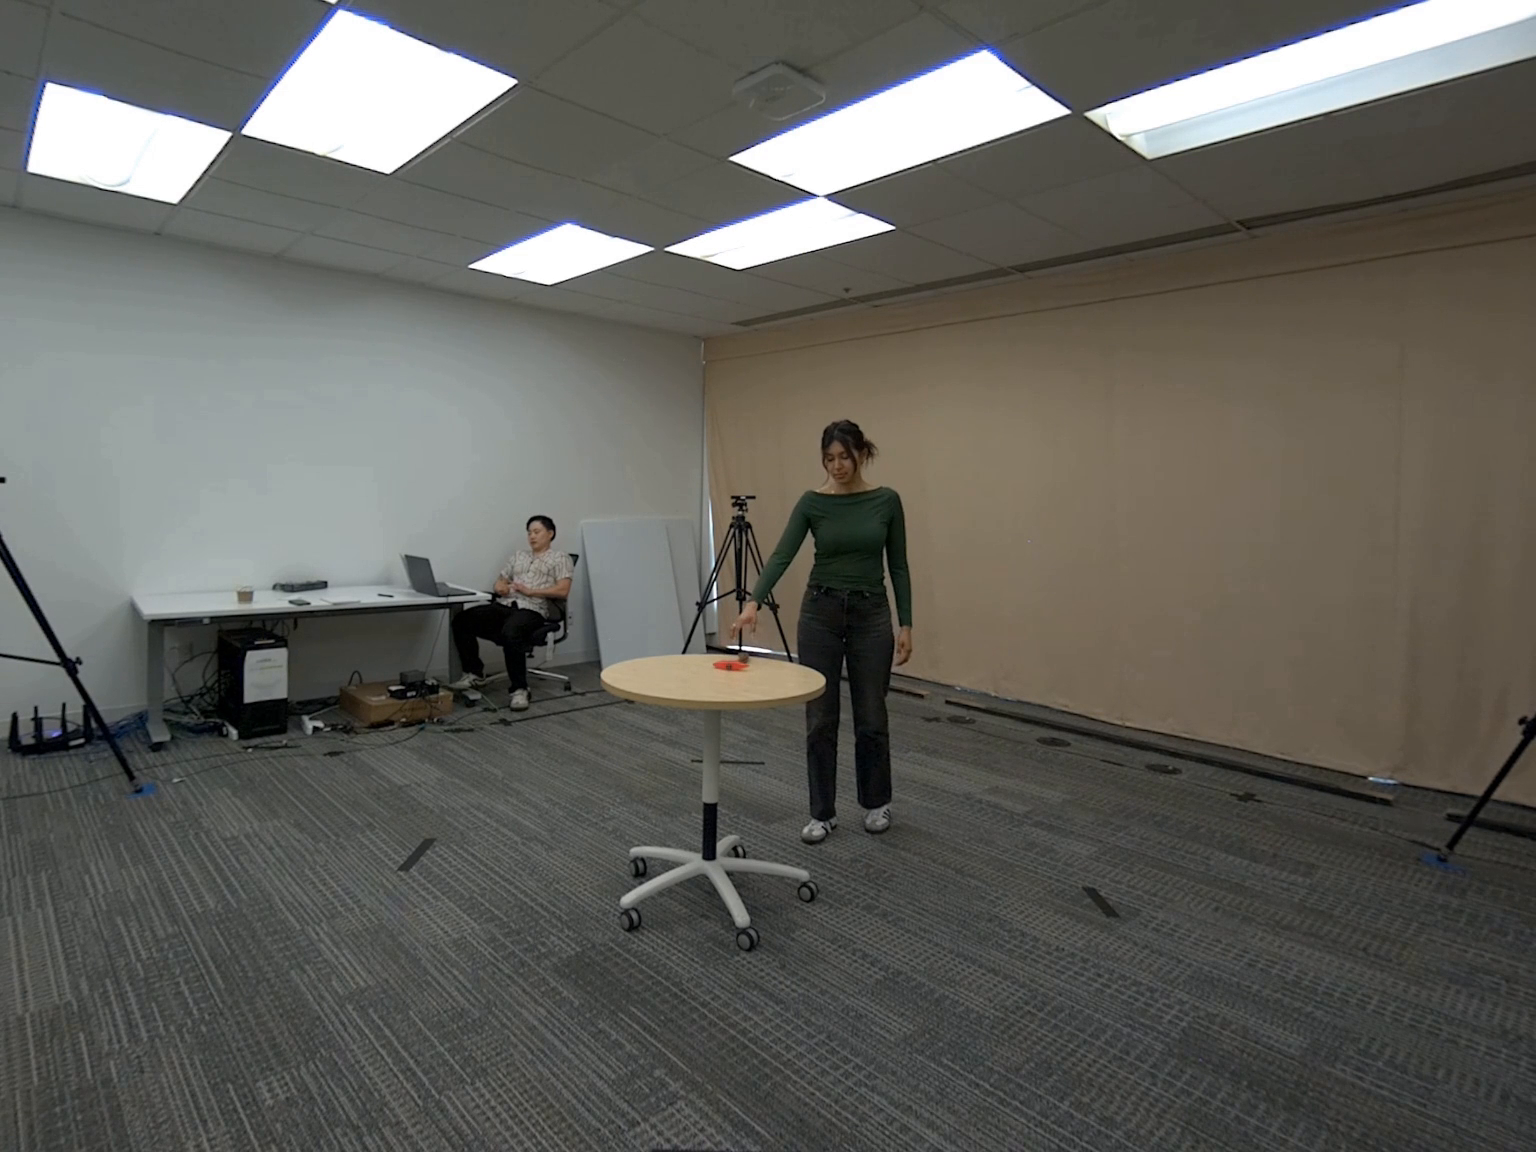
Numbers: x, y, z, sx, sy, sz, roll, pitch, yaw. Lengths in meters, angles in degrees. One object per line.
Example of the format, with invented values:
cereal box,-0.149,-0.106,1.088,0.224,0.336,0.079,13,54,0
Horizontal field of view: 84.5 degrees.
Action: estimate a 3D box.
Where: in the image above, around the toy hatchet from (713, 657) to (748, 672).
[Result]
toy hatchet,-0.138,0.311,3.084,0.131,0.029,0.271,-2,4,-2
